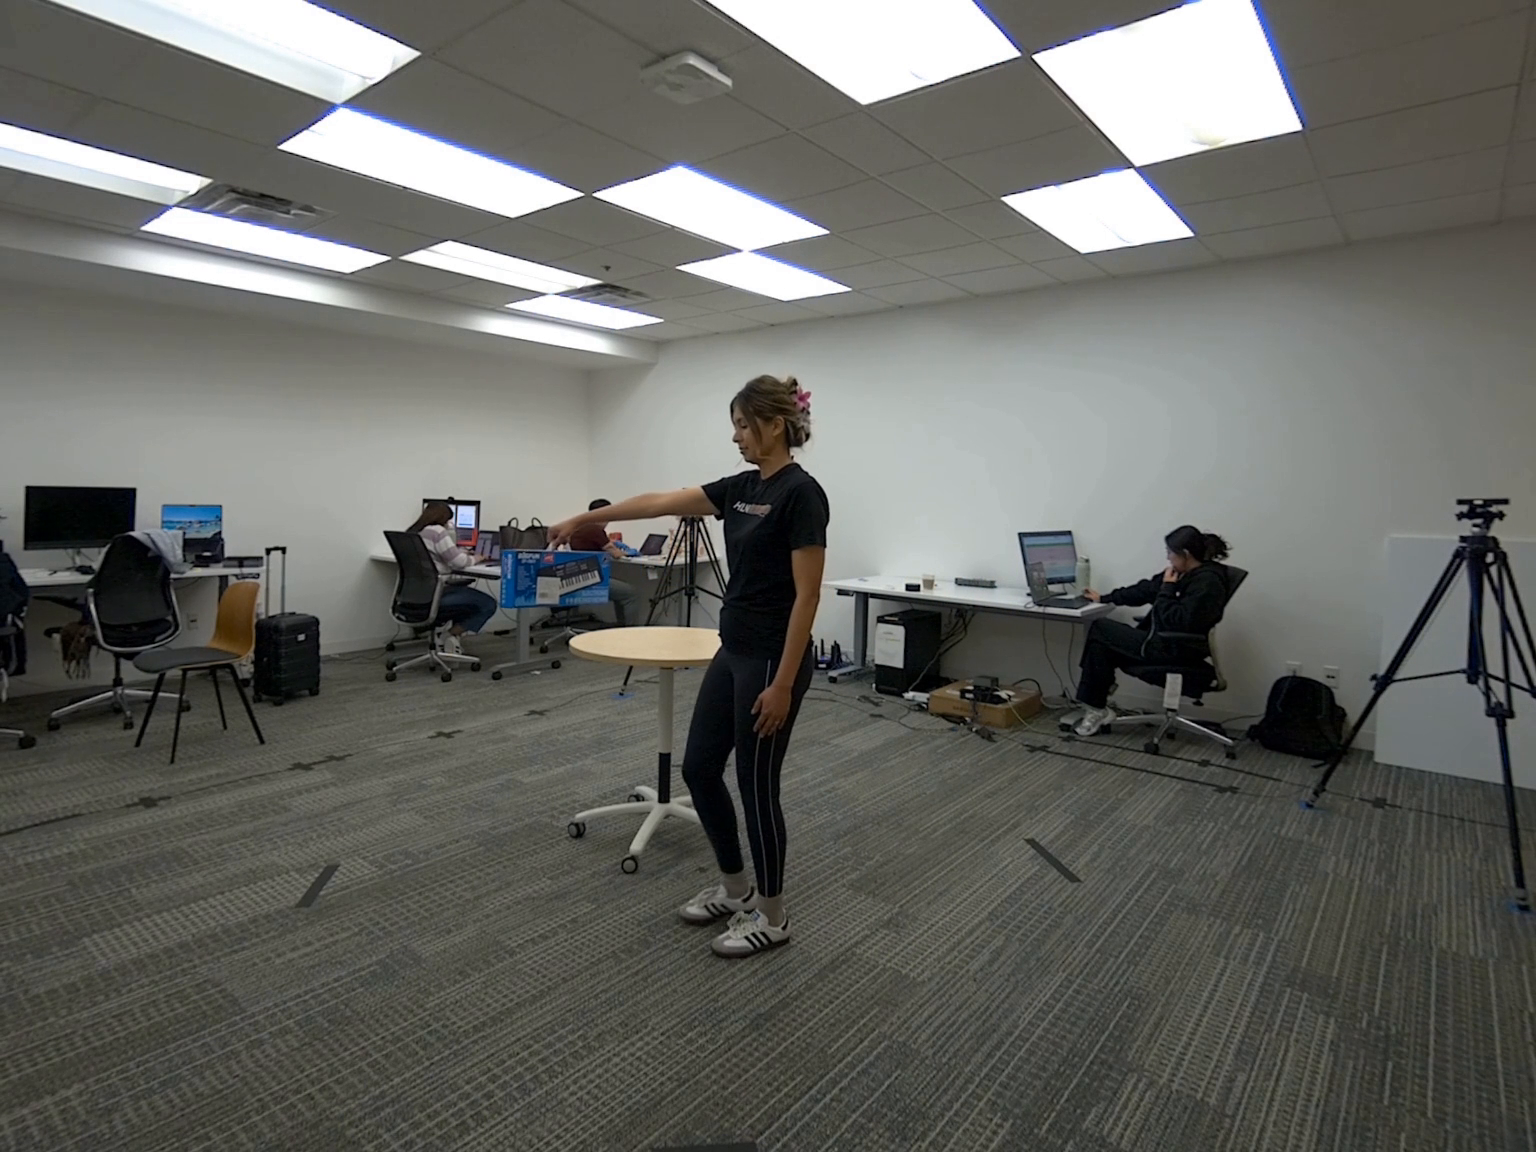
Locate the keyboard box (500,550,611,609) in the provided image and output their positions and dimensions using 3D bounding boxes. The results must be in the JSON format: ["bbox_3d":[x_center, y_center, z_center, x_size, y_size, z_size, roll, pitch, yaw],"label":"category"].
[{"bbox_3d":[-0.675,0.010,2.690,0.061,0.176,0.424,1,1,29],"label":"keyboard box"}]
